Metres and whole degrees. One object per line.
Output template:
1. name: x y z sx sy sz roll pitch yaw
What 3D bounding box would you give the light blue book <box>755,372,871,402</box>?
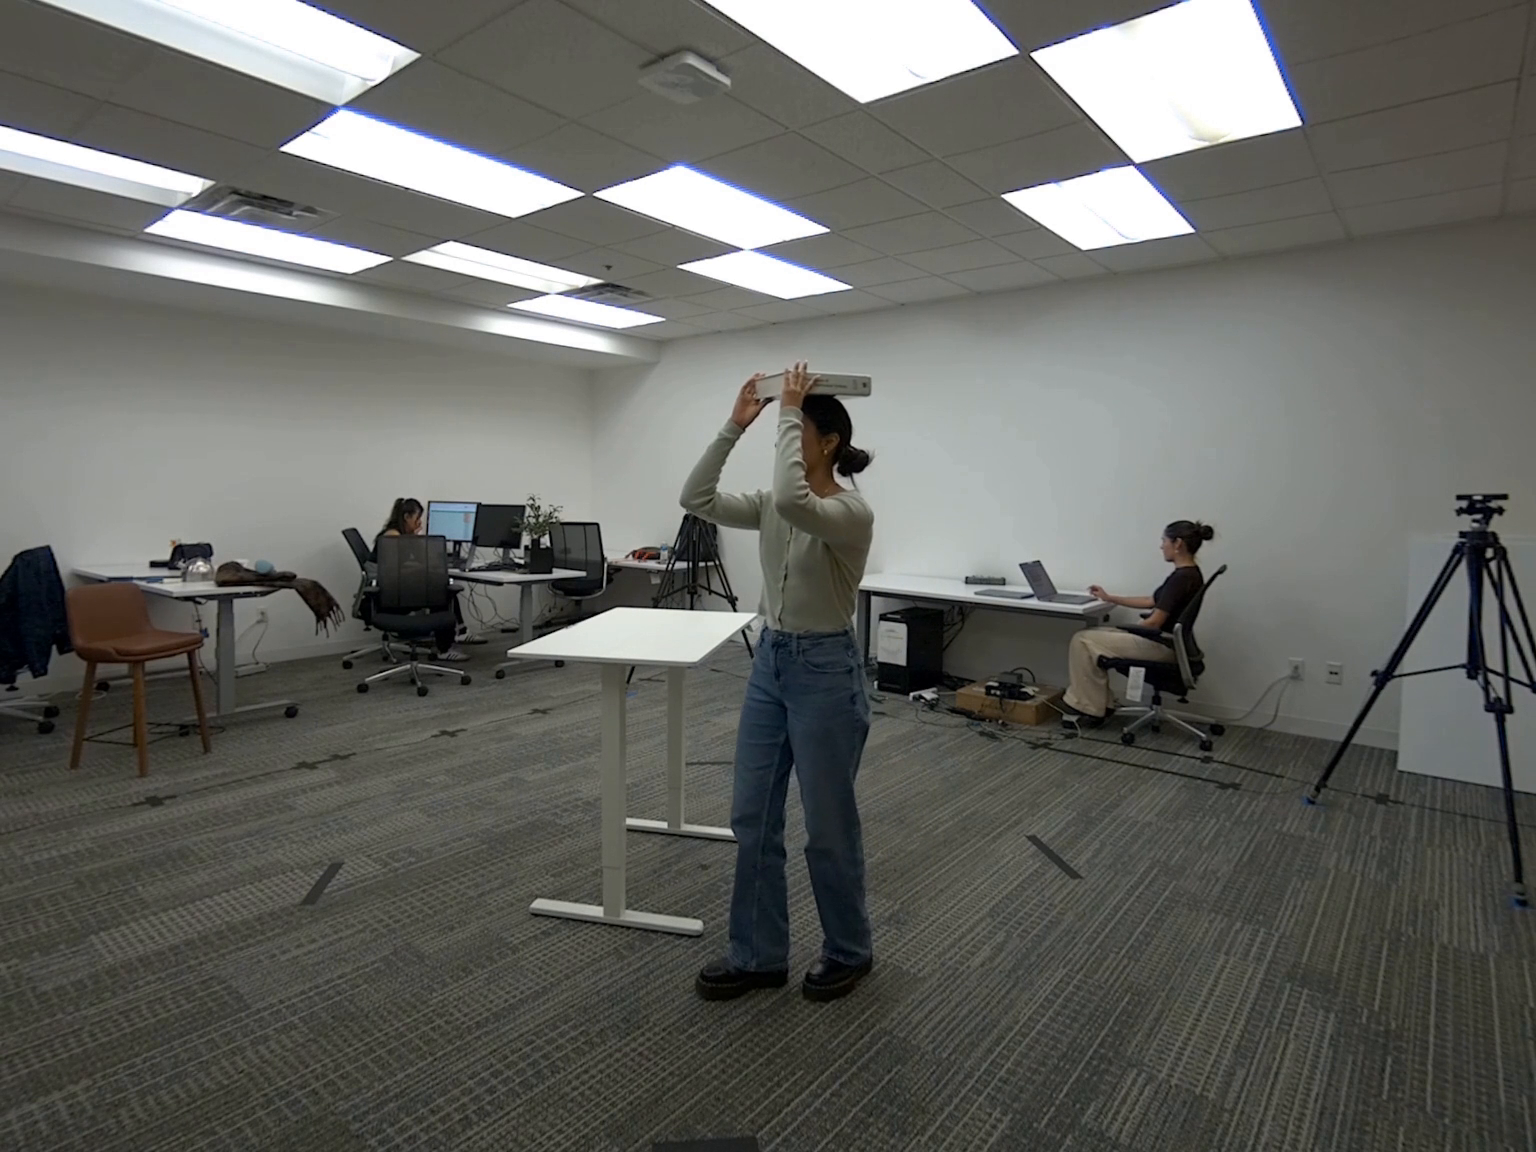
1. light blue book: 0.113 -0.521 2.312 0.254 0.059 0.197 -2 7 -29
